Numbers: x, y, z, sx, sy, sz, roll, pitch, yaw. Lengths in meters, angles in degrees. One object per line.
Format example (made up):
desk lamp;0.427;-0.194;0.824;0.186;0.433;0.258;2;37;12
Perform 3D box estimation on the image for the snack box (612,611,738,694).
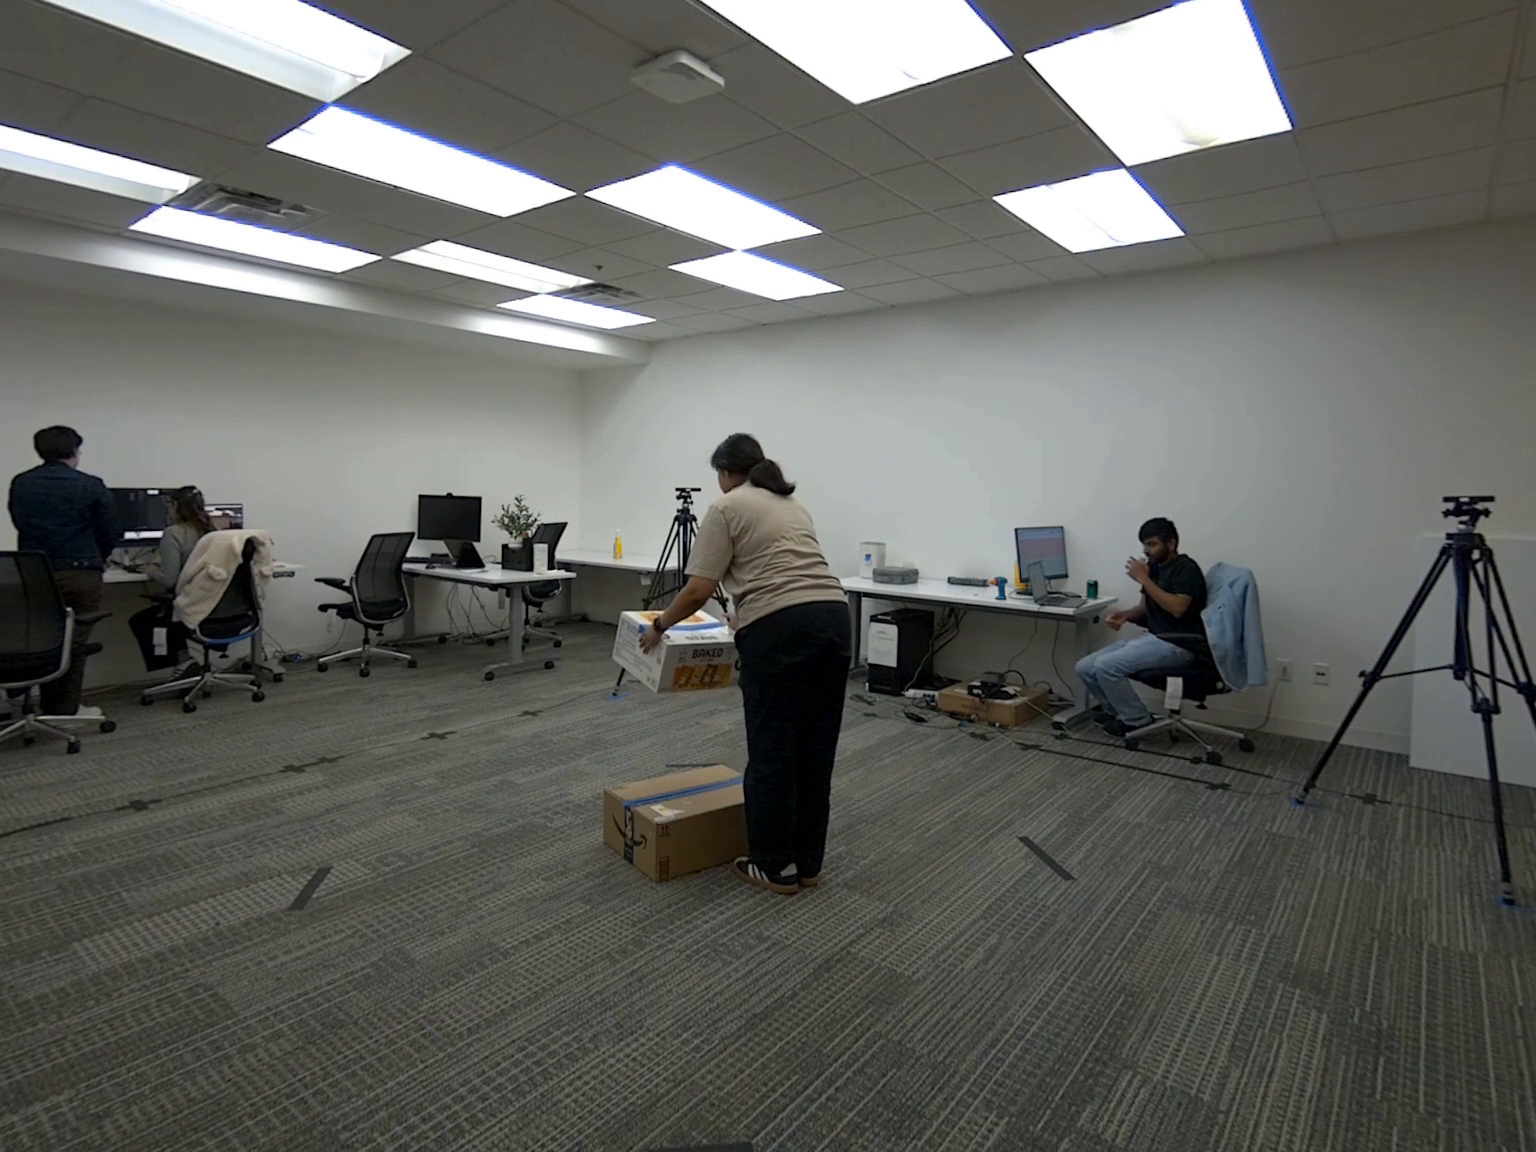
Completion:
snack box;-0.354;0.292;3.372;0.392;0.204;0.354;1;16;-41
